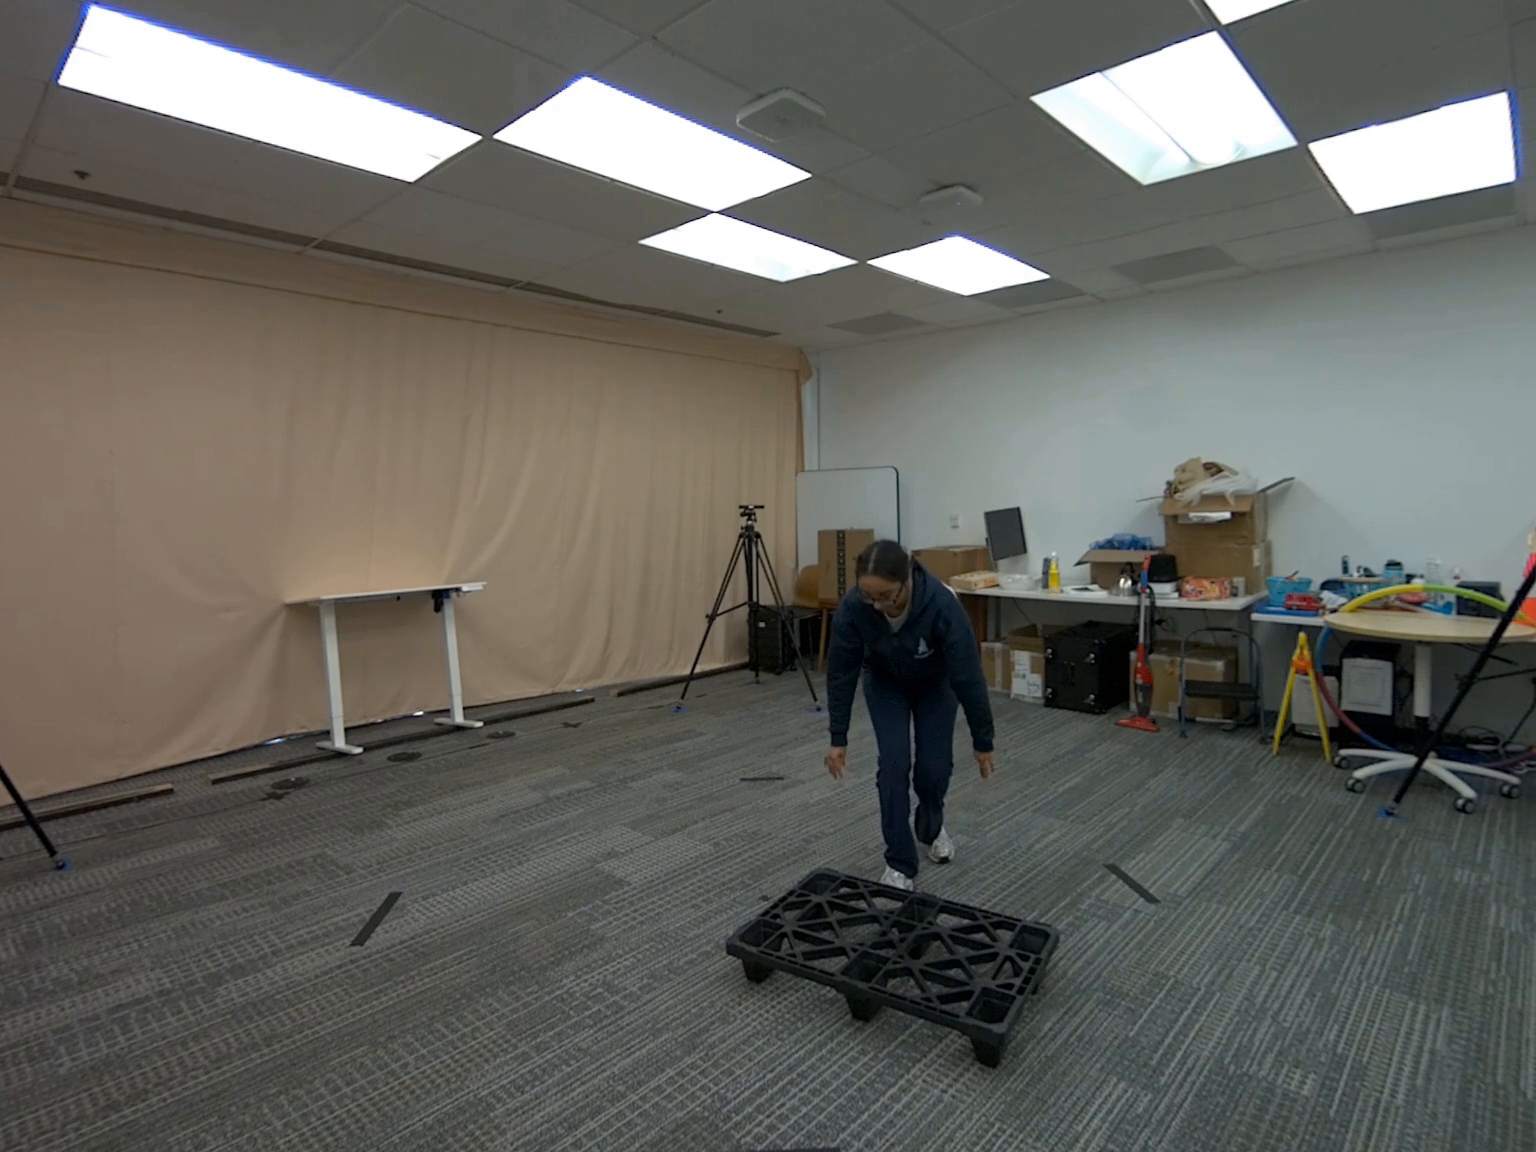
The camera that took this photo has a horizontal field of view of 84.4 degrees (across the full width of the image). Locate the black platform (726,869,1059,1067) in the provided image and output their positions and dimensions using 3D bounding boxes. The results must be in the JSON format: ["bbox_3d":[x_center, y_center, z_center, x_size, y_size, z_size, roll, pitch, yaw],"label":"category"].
[{"bbox_3d":[0.365,1.112,2.463,0.830,0.143,0.588,2,6,33],"label":"black platform"}]
